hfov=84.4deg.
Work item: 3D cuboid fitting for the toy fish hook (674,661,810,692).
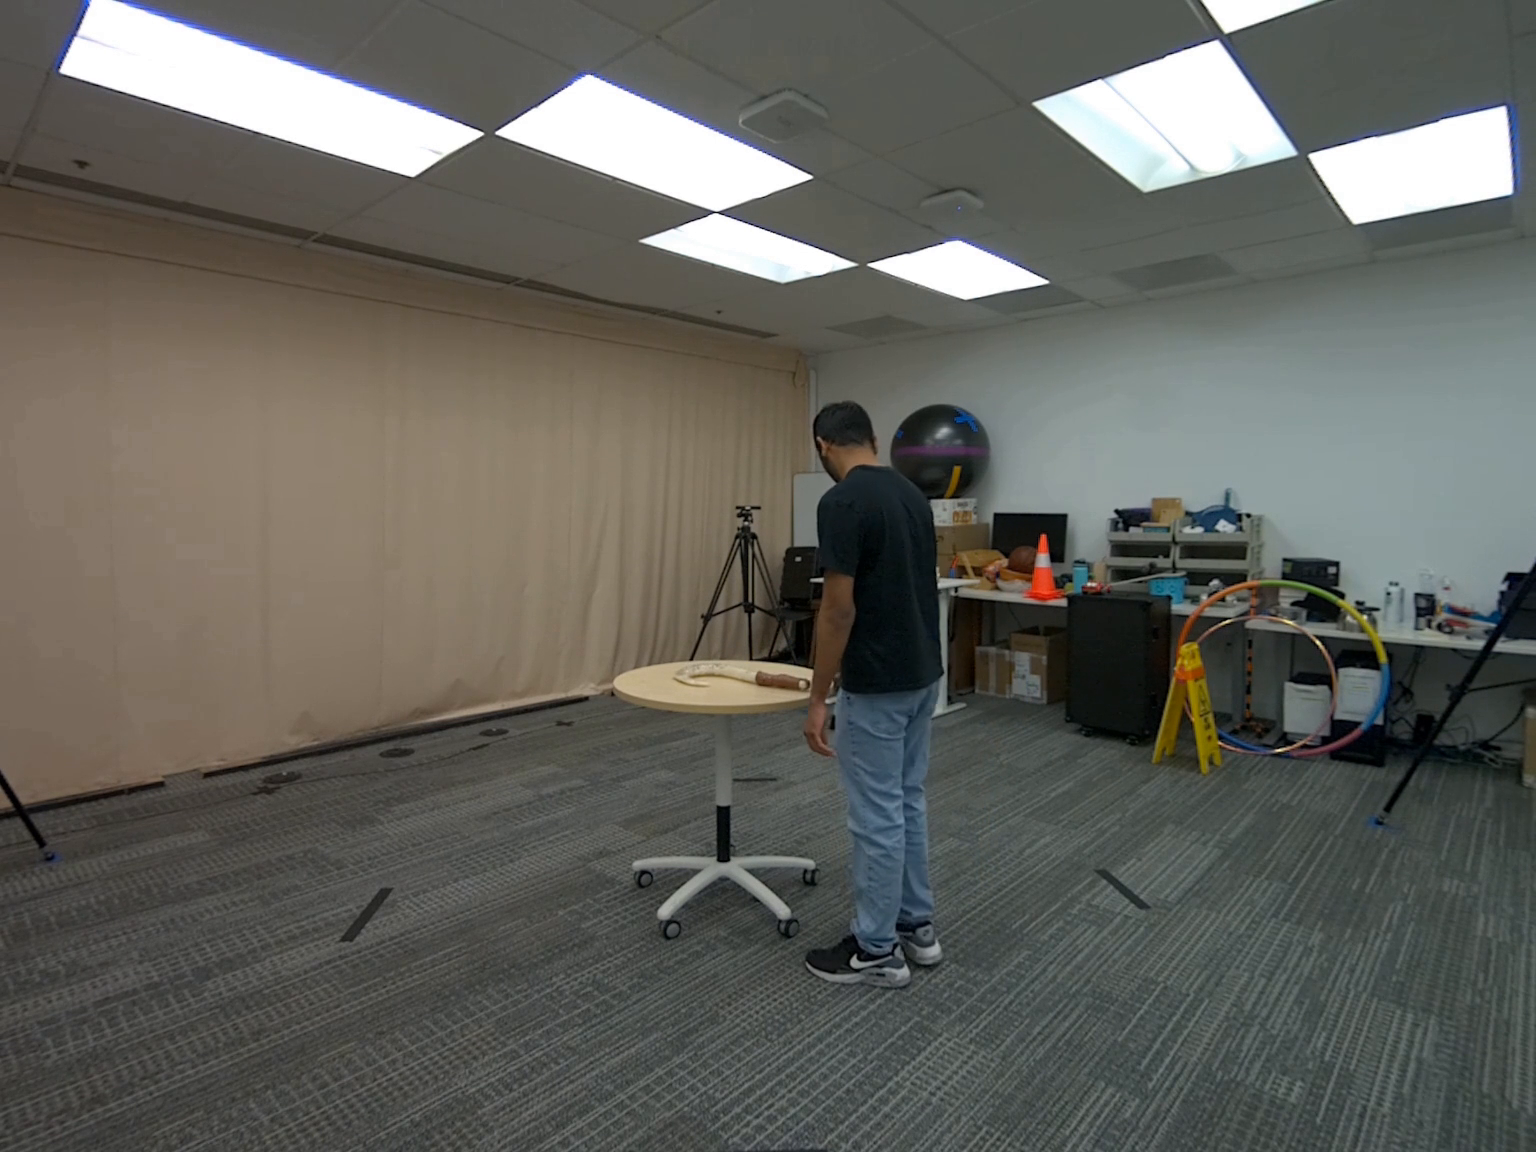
[{"bbox_3d":[-0.095,0.359,2.867,0.522,0.048,0.219,2,11,36],"label":"toy fish hook"}]
